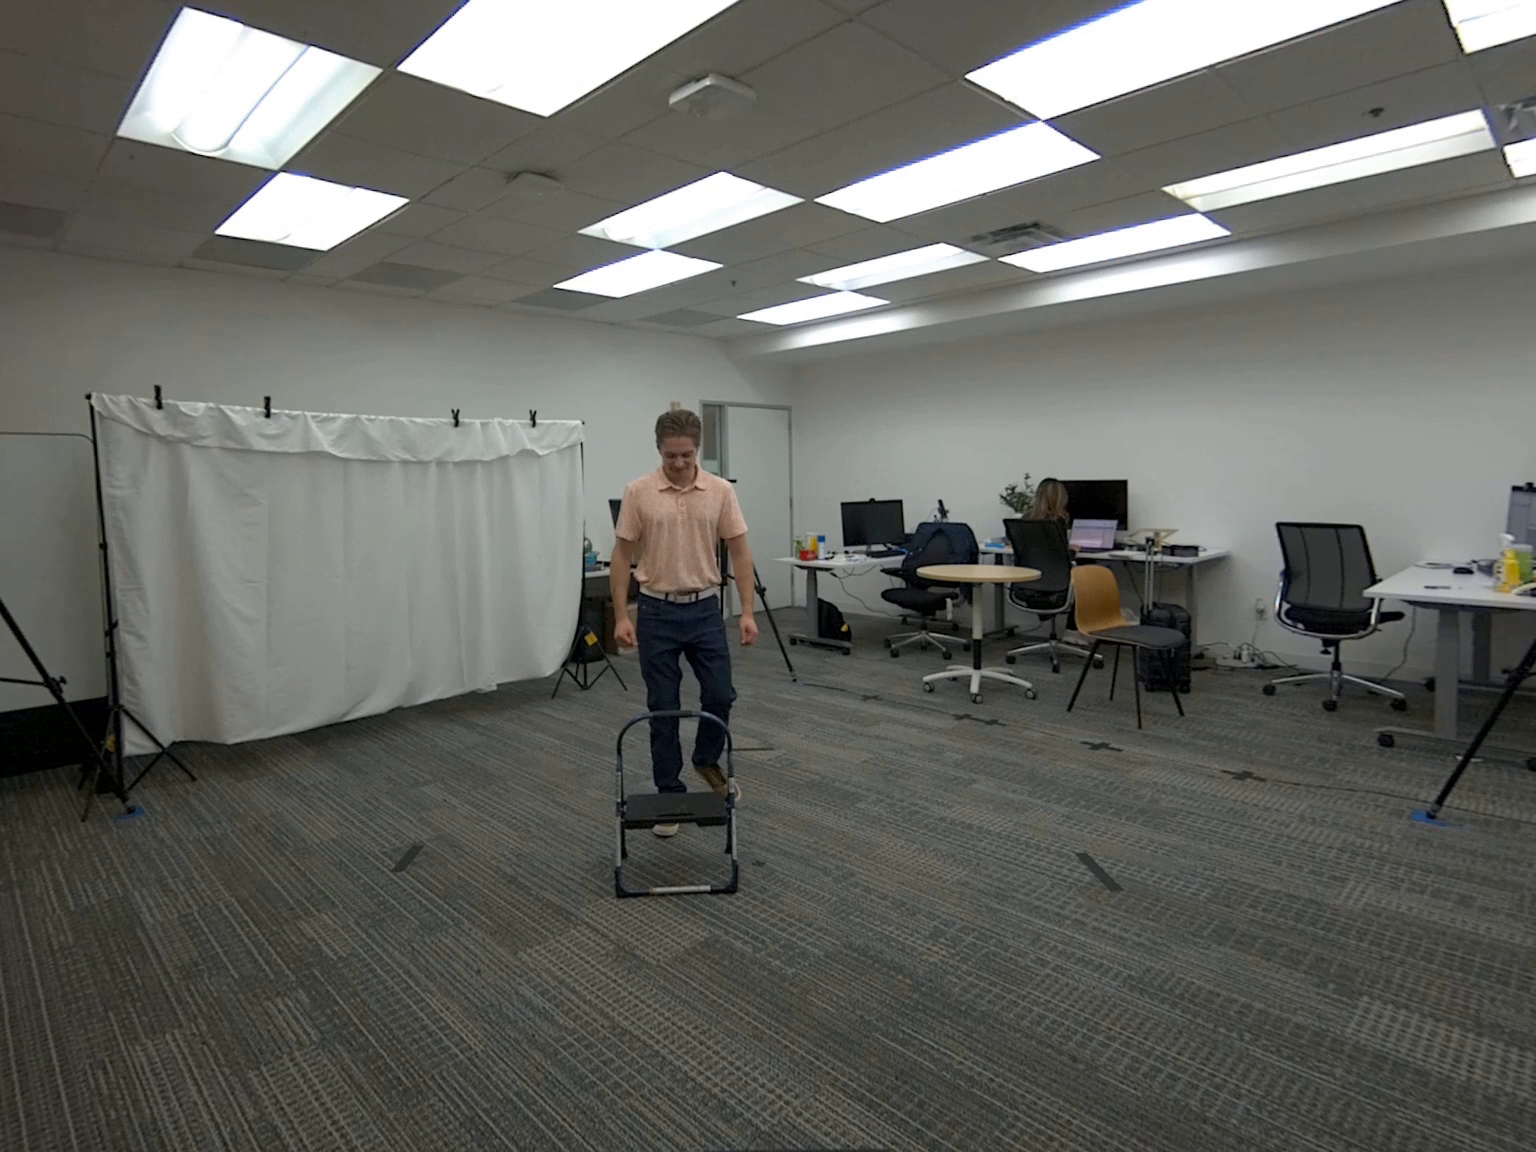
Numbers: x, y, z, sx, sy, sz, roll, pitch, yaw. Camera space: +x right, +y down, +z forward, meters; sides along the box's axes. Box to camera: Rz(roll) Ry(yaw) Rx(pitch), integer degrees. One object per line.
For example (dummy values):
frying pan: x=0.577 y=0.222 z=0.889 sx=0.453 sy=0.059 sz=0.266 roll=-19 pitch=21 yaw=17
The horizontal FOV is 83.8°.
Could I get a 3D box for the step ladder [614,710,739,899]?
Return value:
step ladder: x=-0.335 y=0.764 z=3.029 sx=0.429 sy=0.603 sz=0.352 roll=-3 pitch=5 yaw=-6
